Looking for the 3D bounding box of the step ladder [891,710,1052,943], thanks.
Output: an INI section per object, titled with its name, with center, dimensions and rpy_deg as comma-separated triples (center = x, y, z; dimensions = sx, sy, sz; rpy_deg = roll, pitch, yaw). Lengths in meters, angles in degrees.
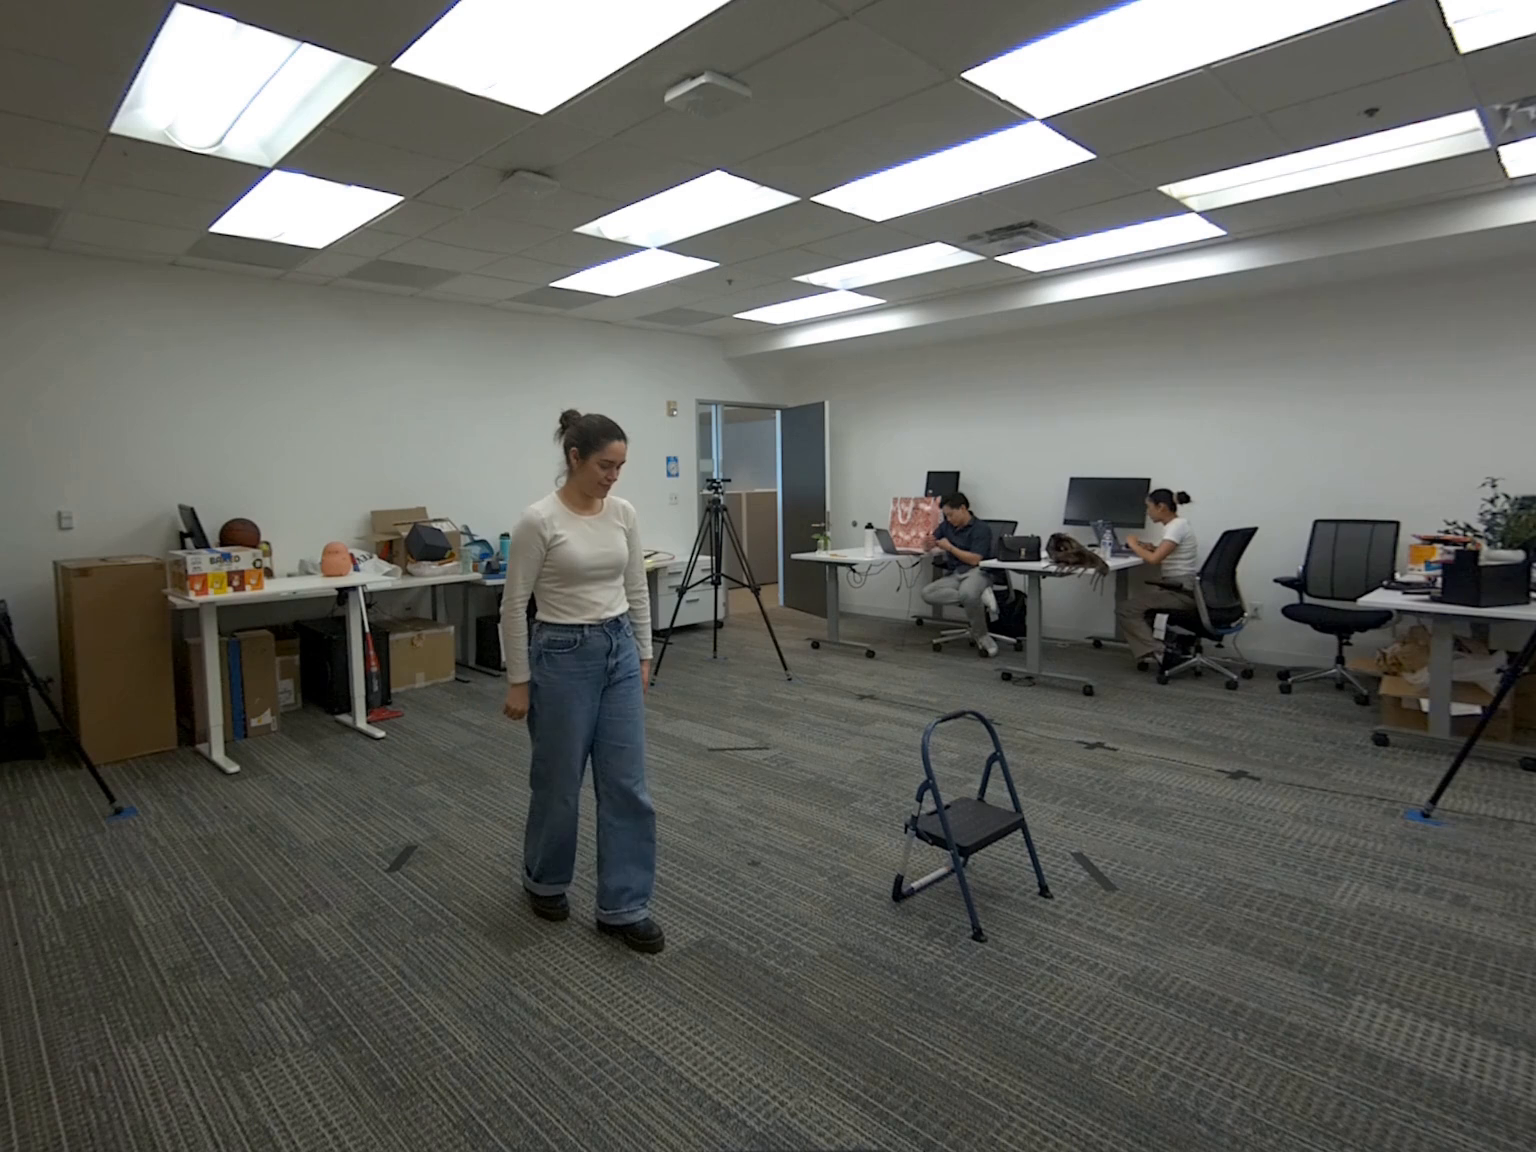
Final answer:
[step ladder]
center = 0.673, 0.763, 2.802
dimensions = 0.419, 0.604, 0.360
rpy_deg = -4, 6, -43
